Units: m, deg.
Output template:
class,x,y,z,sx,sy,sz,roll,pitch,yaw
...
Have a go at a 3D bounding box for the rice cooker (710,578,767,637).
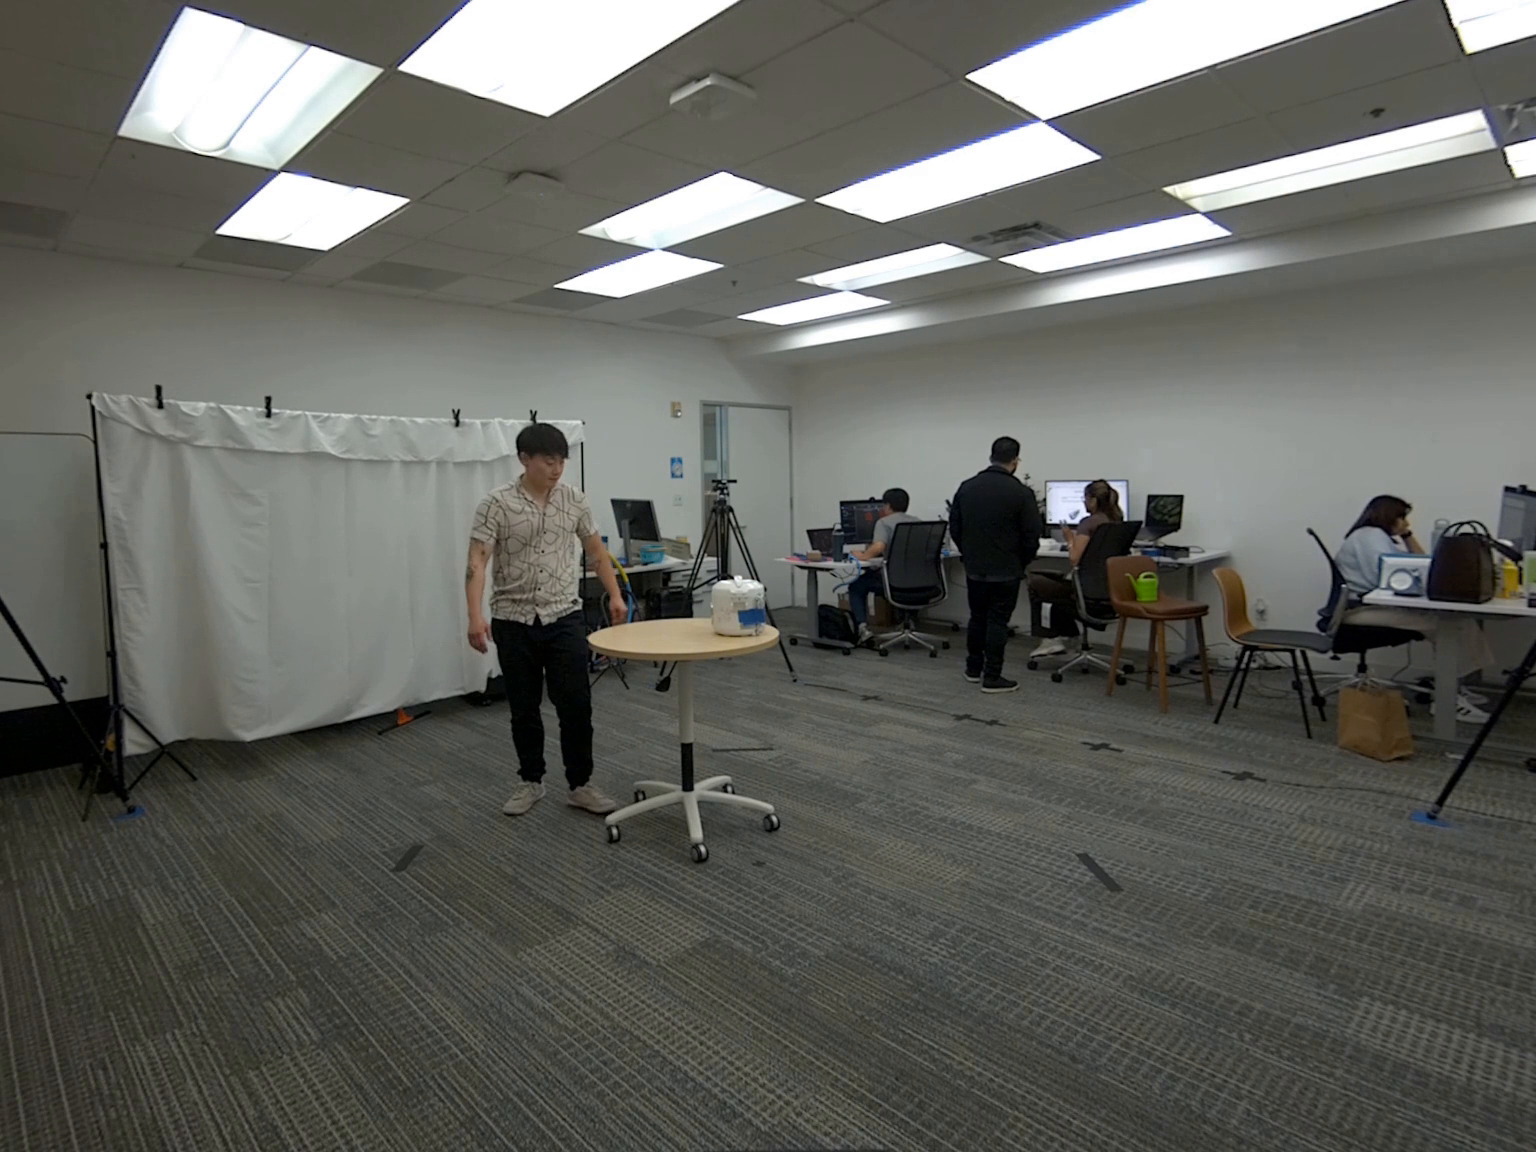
class,x,y,z,sx,sy,sz,roll,pitch,yaw
rice cooker,-0.121,0.113,3.424,0.217,0.232,0.222,-1,5,-2
